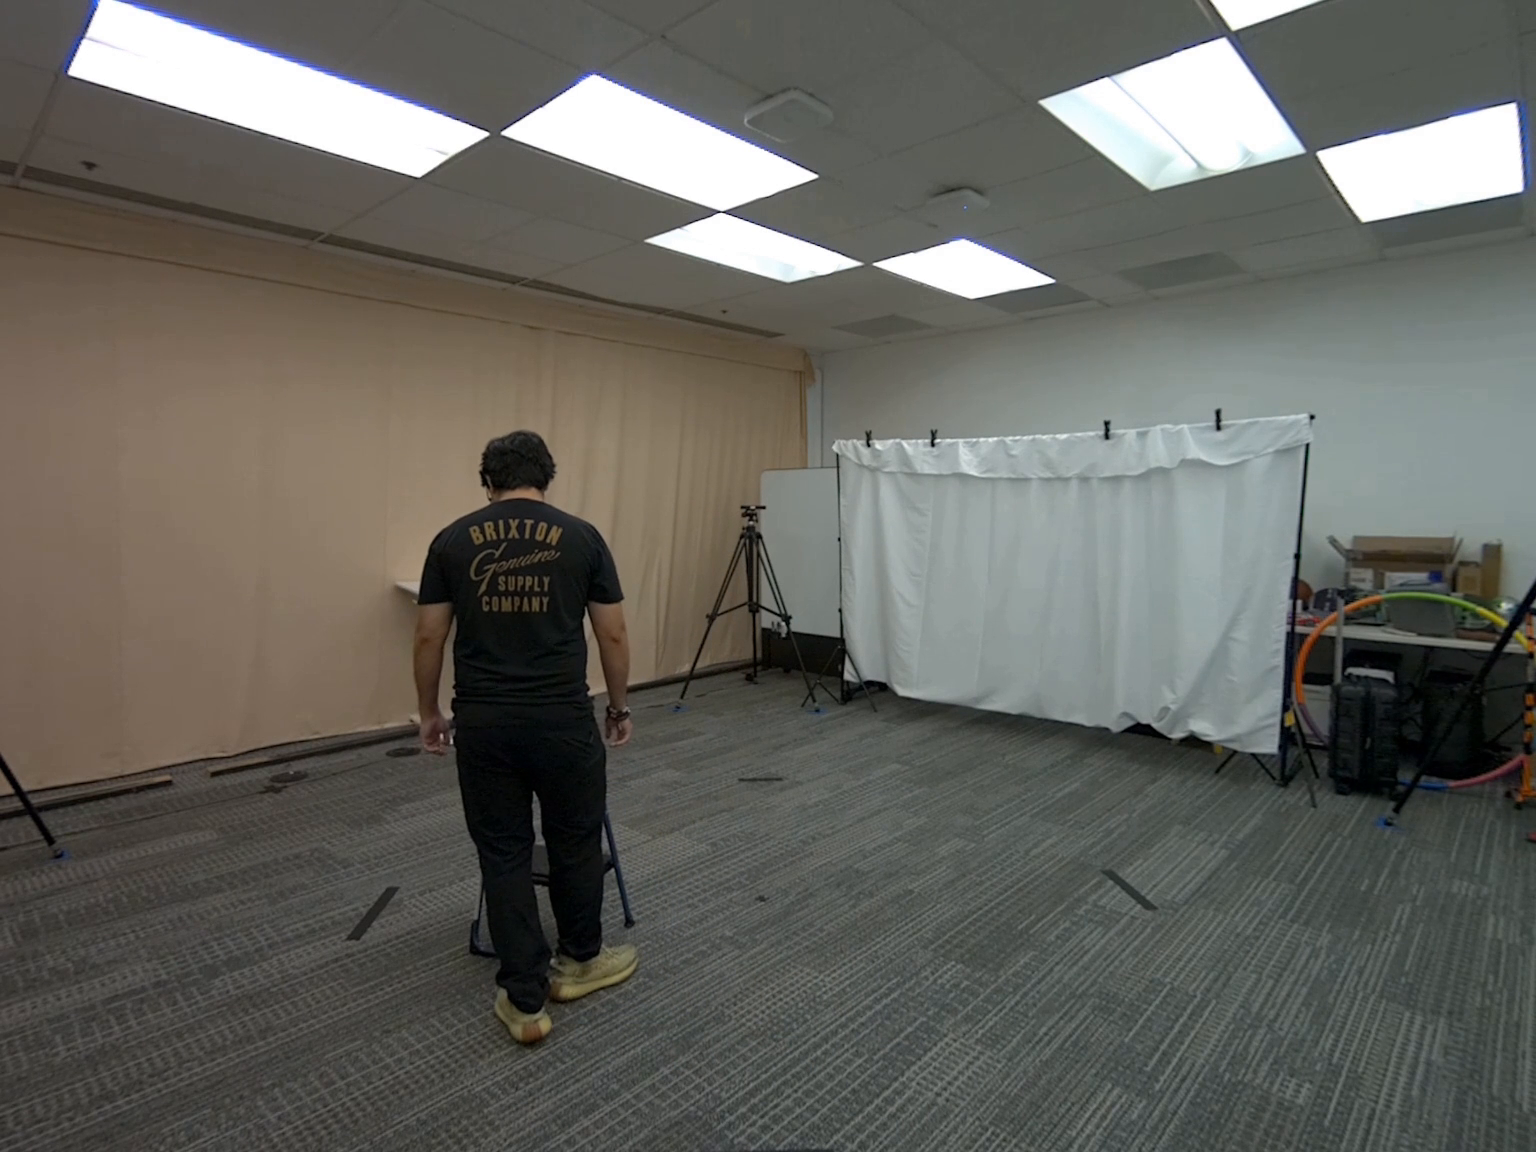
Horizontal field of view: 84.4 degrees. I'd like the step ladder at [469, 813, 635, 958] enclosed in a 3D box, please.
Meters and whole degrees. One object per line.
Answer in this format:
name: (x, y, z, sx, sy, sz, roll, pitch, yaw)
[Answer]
step ladder: (-0.707, 0.876, 2.697, 0.438, 0.605, 0.344, 1, 4, 16)
